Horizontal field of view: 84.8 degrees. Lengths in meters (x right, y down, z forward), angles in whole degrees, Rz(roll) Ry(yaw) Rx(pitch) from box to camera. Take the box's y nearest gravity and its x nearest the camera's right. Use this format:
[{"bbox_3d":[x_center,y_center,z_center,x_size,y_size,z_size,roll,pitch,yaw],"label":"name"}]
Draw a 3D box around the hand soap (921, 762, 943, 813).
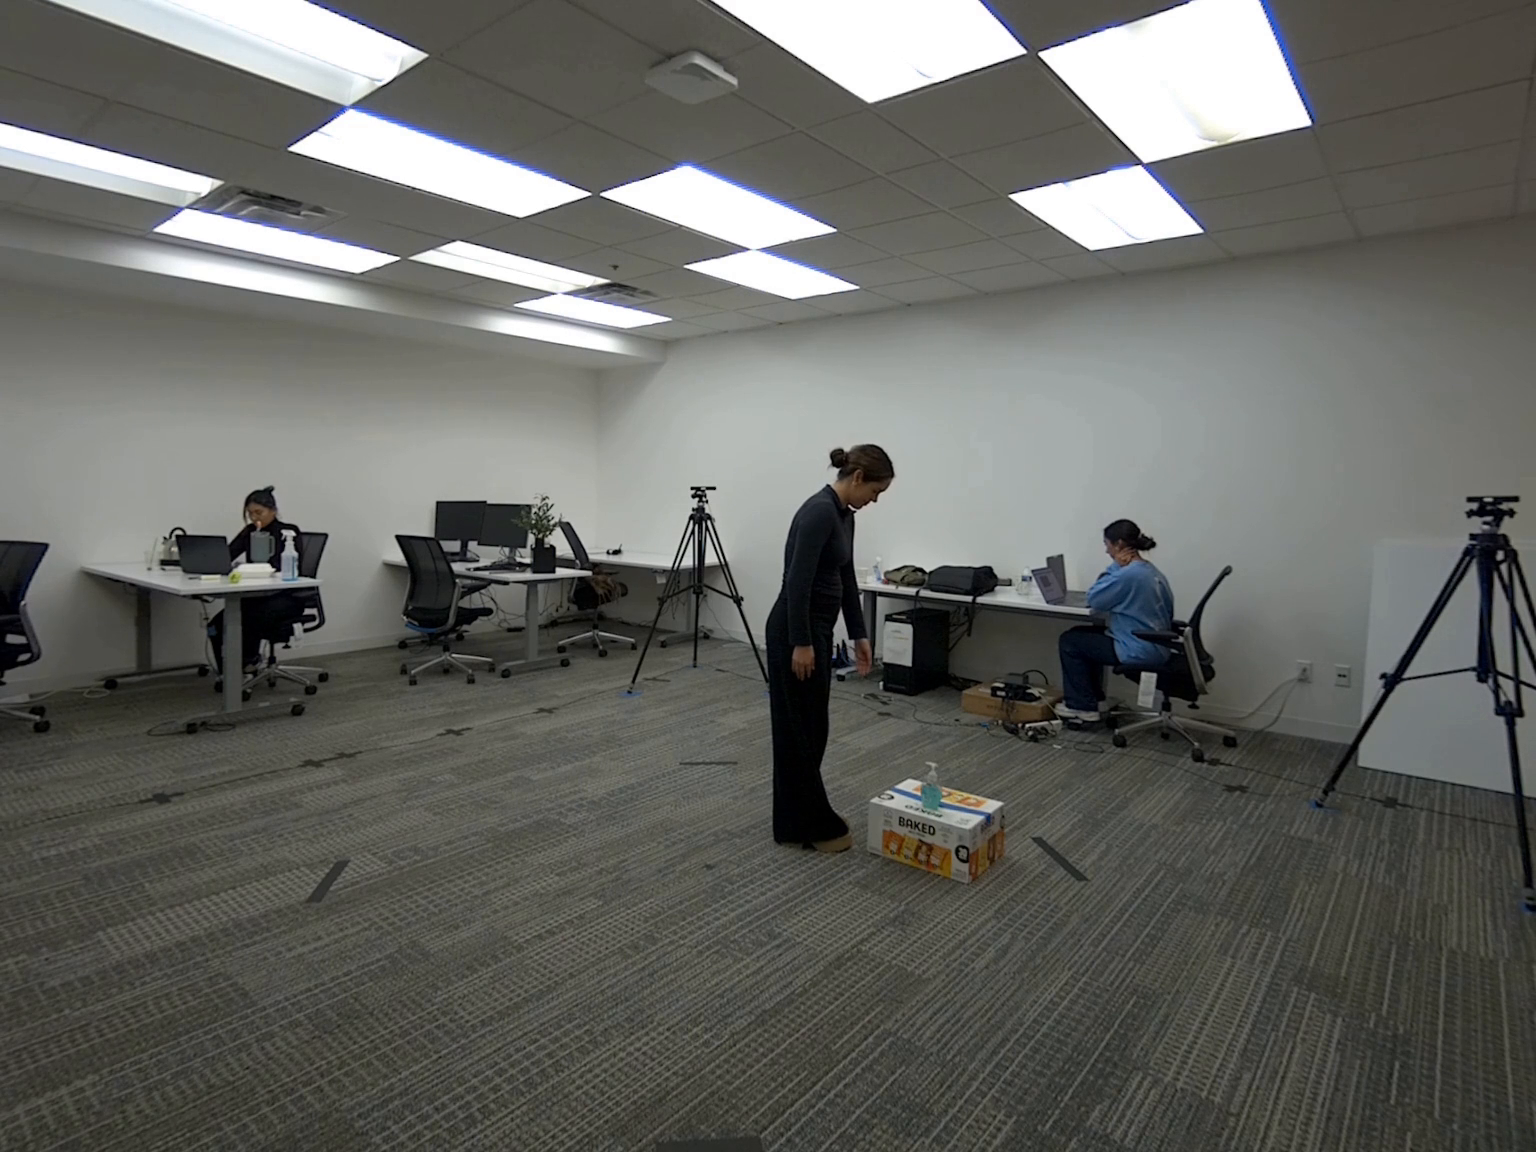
[{"bbox_3d":[0.612,0.789,3.229,0.087,0.168,0.042,7,4,44],"label":"hand soap"}]
